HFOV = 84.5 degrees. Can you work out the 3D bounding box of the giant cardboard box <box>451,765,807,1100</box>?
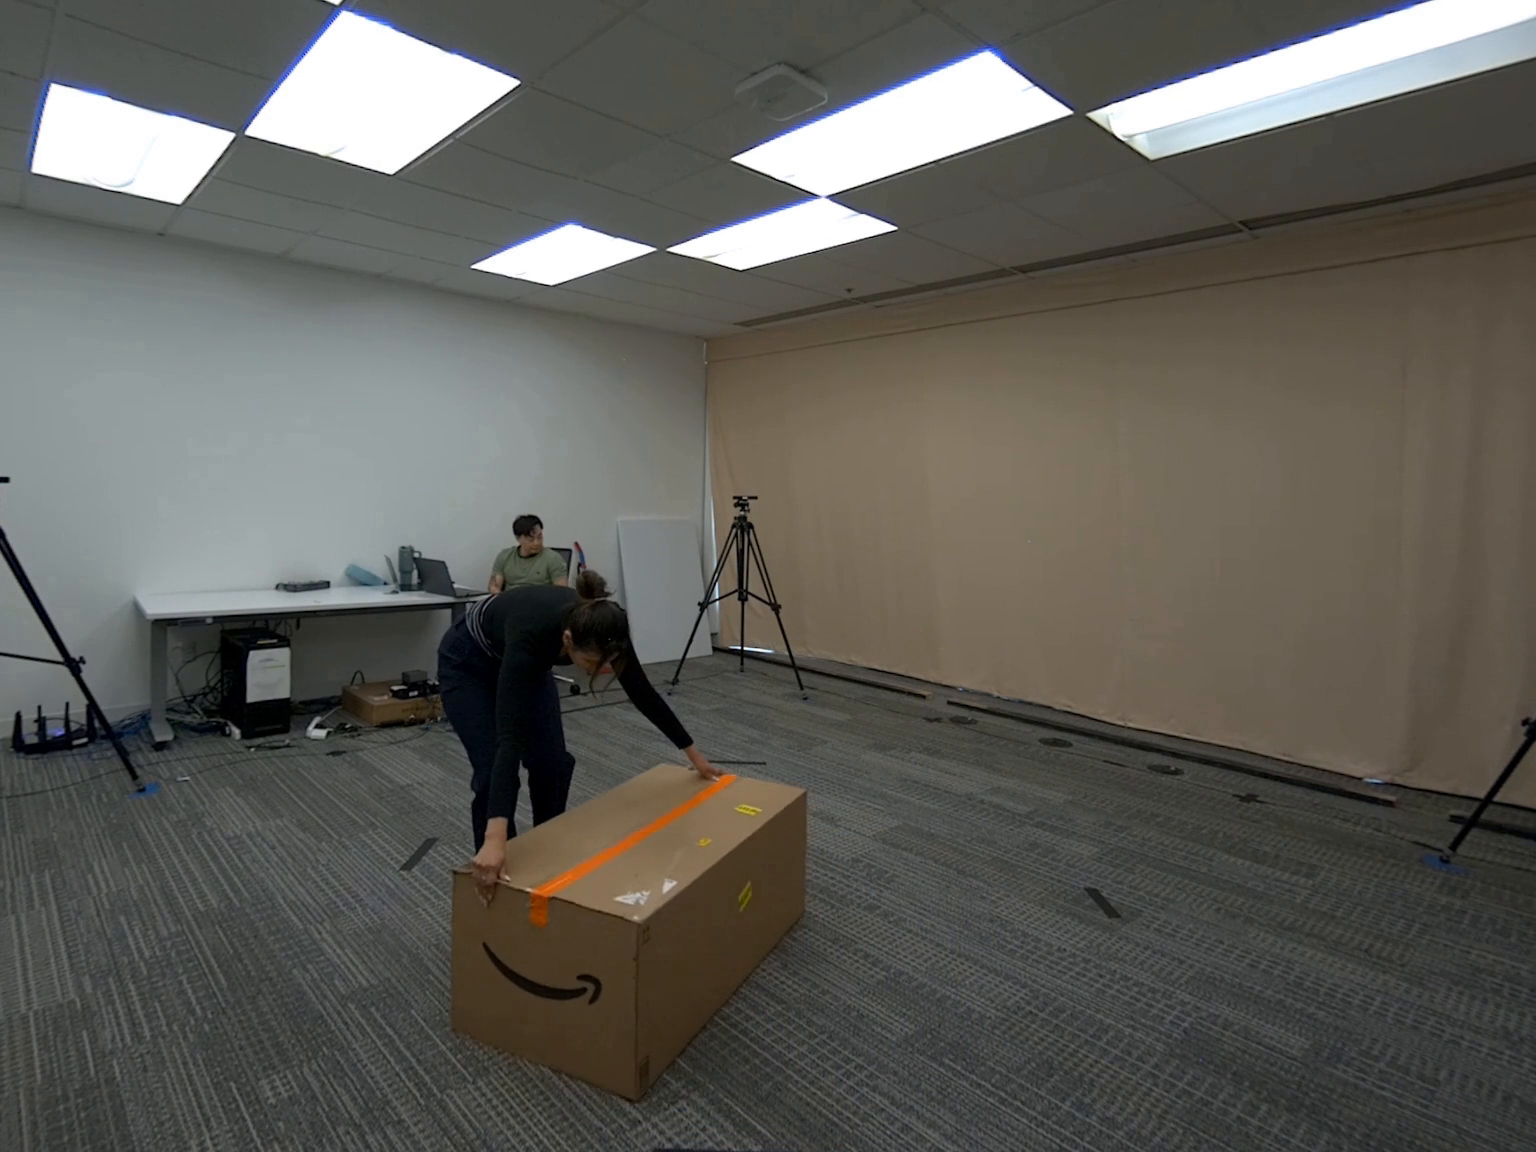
[{"bbox_3d":[-0.349,0.940,2.488,0.589,0.425,1.009,3,5,25],"label":"giant cardboard box"}]
